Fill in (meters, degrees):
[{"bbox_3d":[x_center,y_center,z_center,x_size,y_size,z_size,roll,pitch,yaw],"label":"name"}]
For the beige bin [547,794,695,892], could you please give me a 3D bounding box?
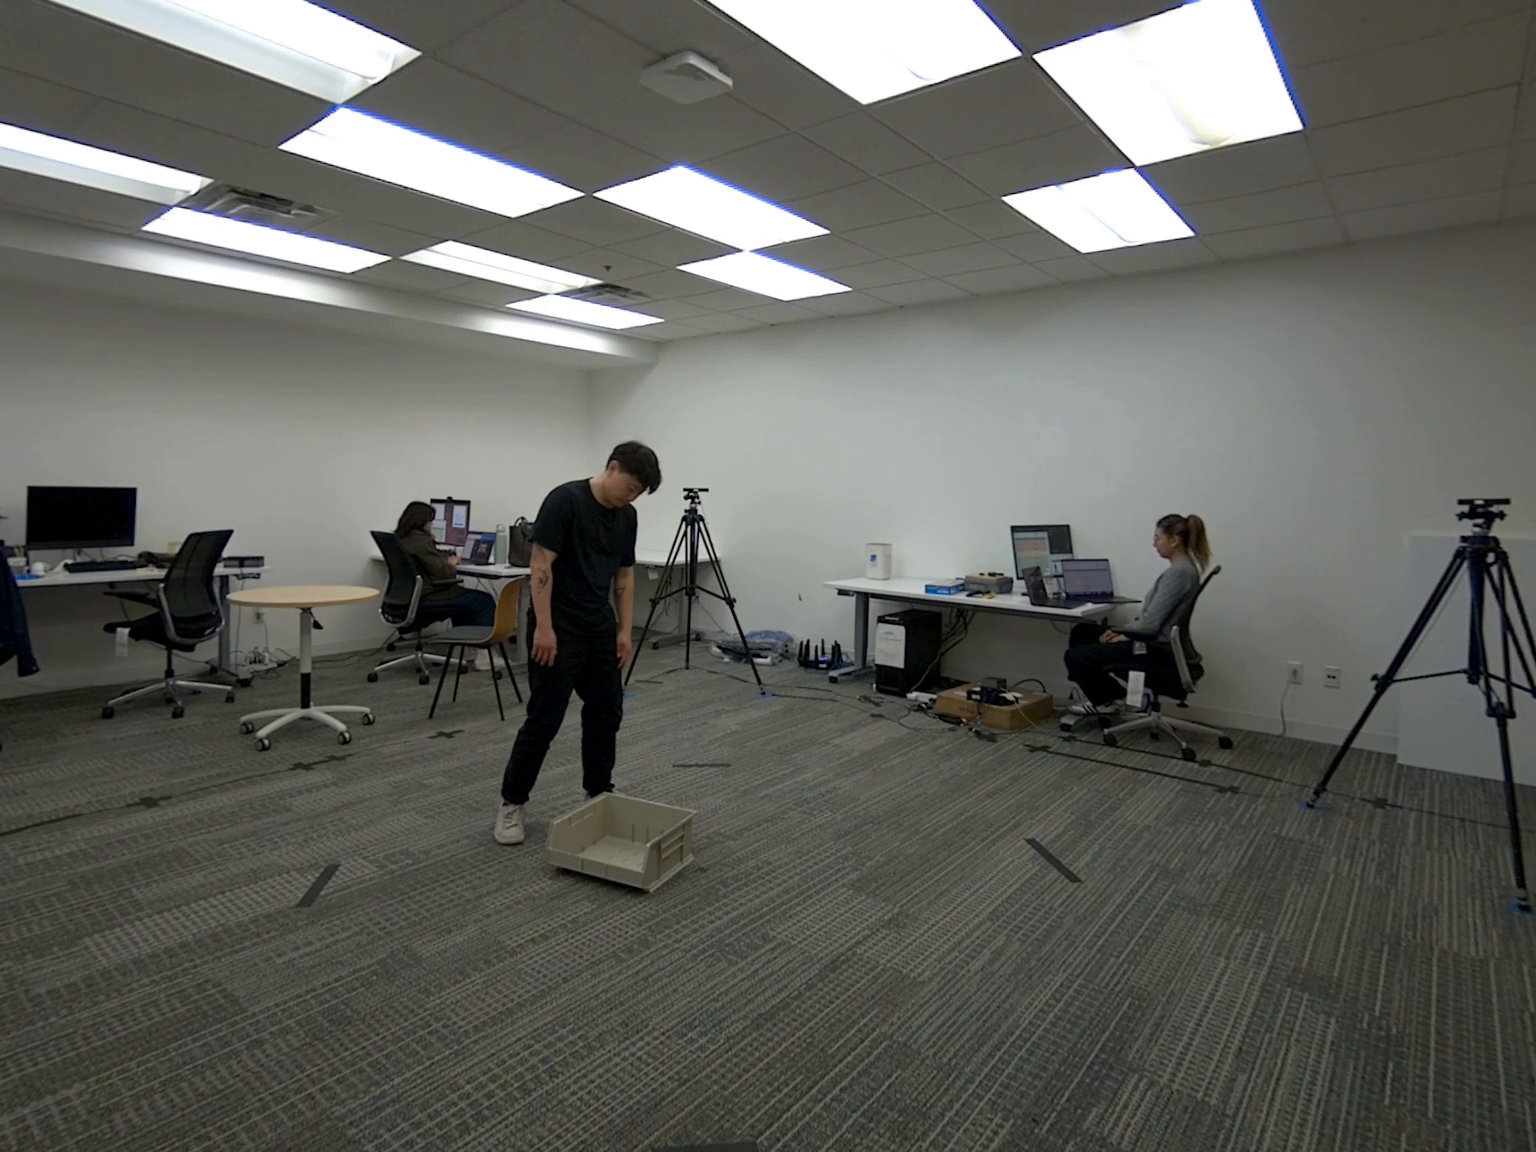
[{"bbox_3d":[-0.542,0.974,3.122,0.433,0.188,0.369,3,4,25],"label":"beige bin"}]
